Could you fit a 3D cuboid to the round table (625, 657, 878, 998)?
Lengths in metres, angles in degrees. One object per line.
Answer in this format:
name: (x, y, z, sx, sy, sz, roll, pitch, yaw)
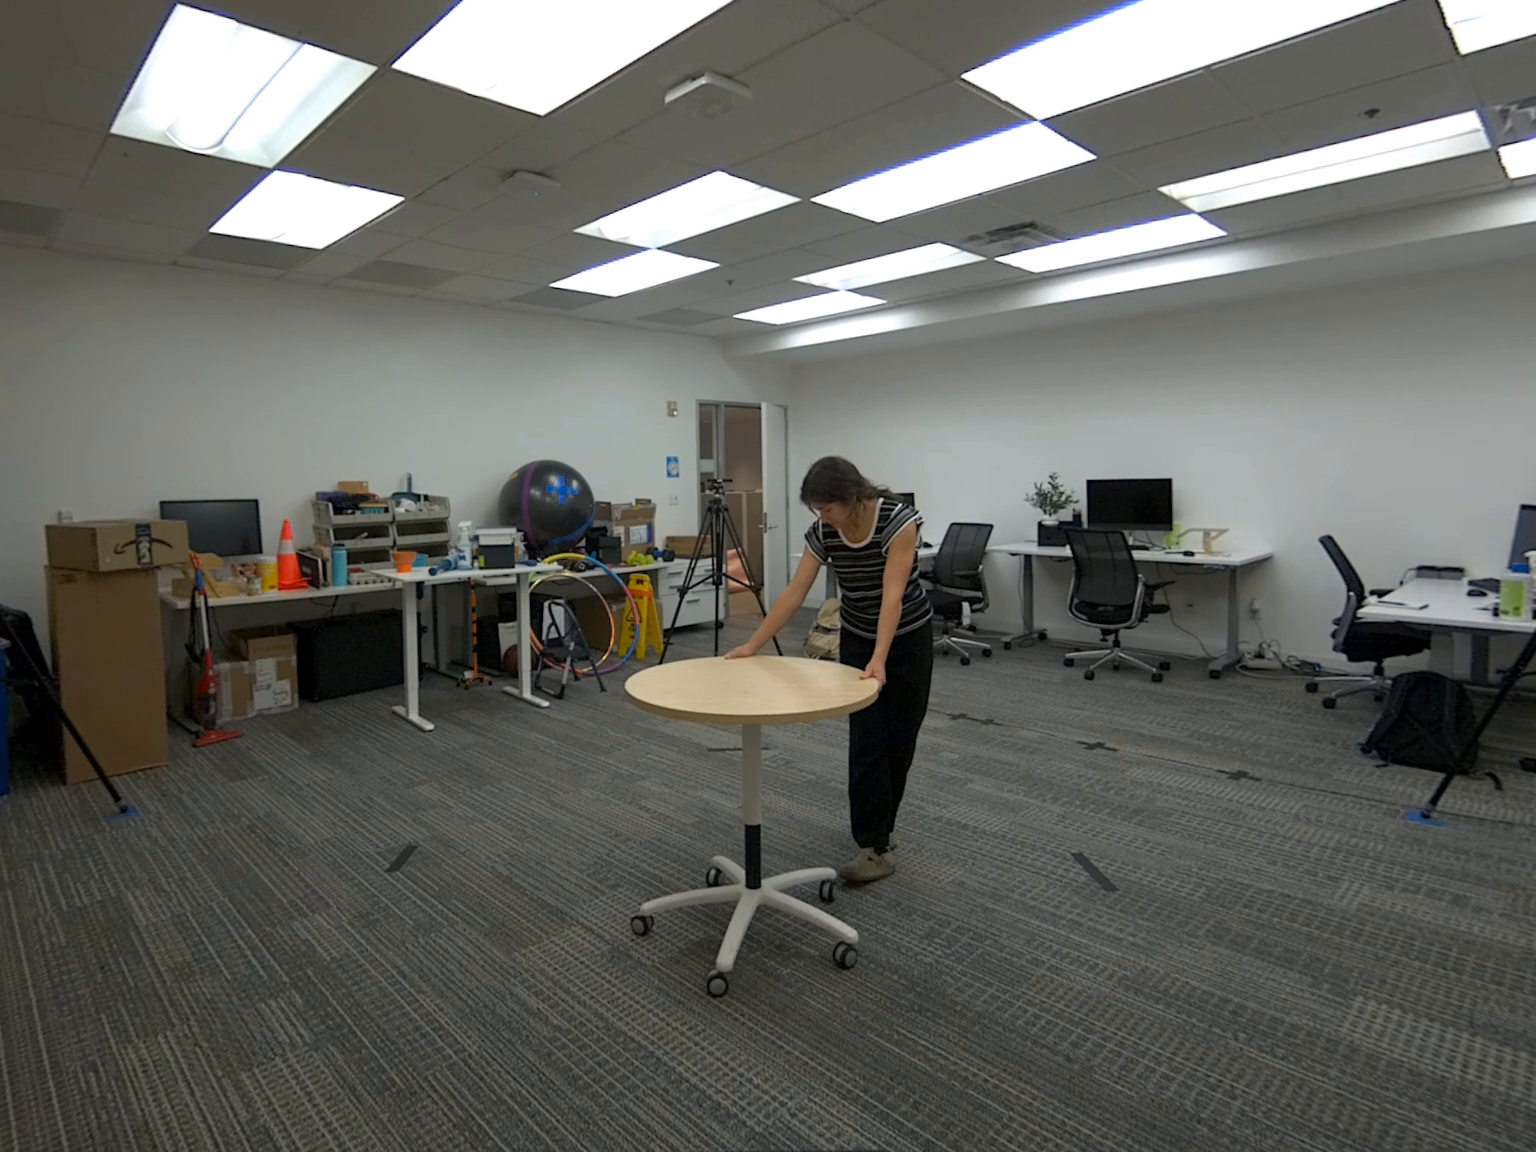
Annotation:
round table: (-0.053, 0.713, 2.623, 0.763, 0.791, 0.768, -1, 5, -2)
